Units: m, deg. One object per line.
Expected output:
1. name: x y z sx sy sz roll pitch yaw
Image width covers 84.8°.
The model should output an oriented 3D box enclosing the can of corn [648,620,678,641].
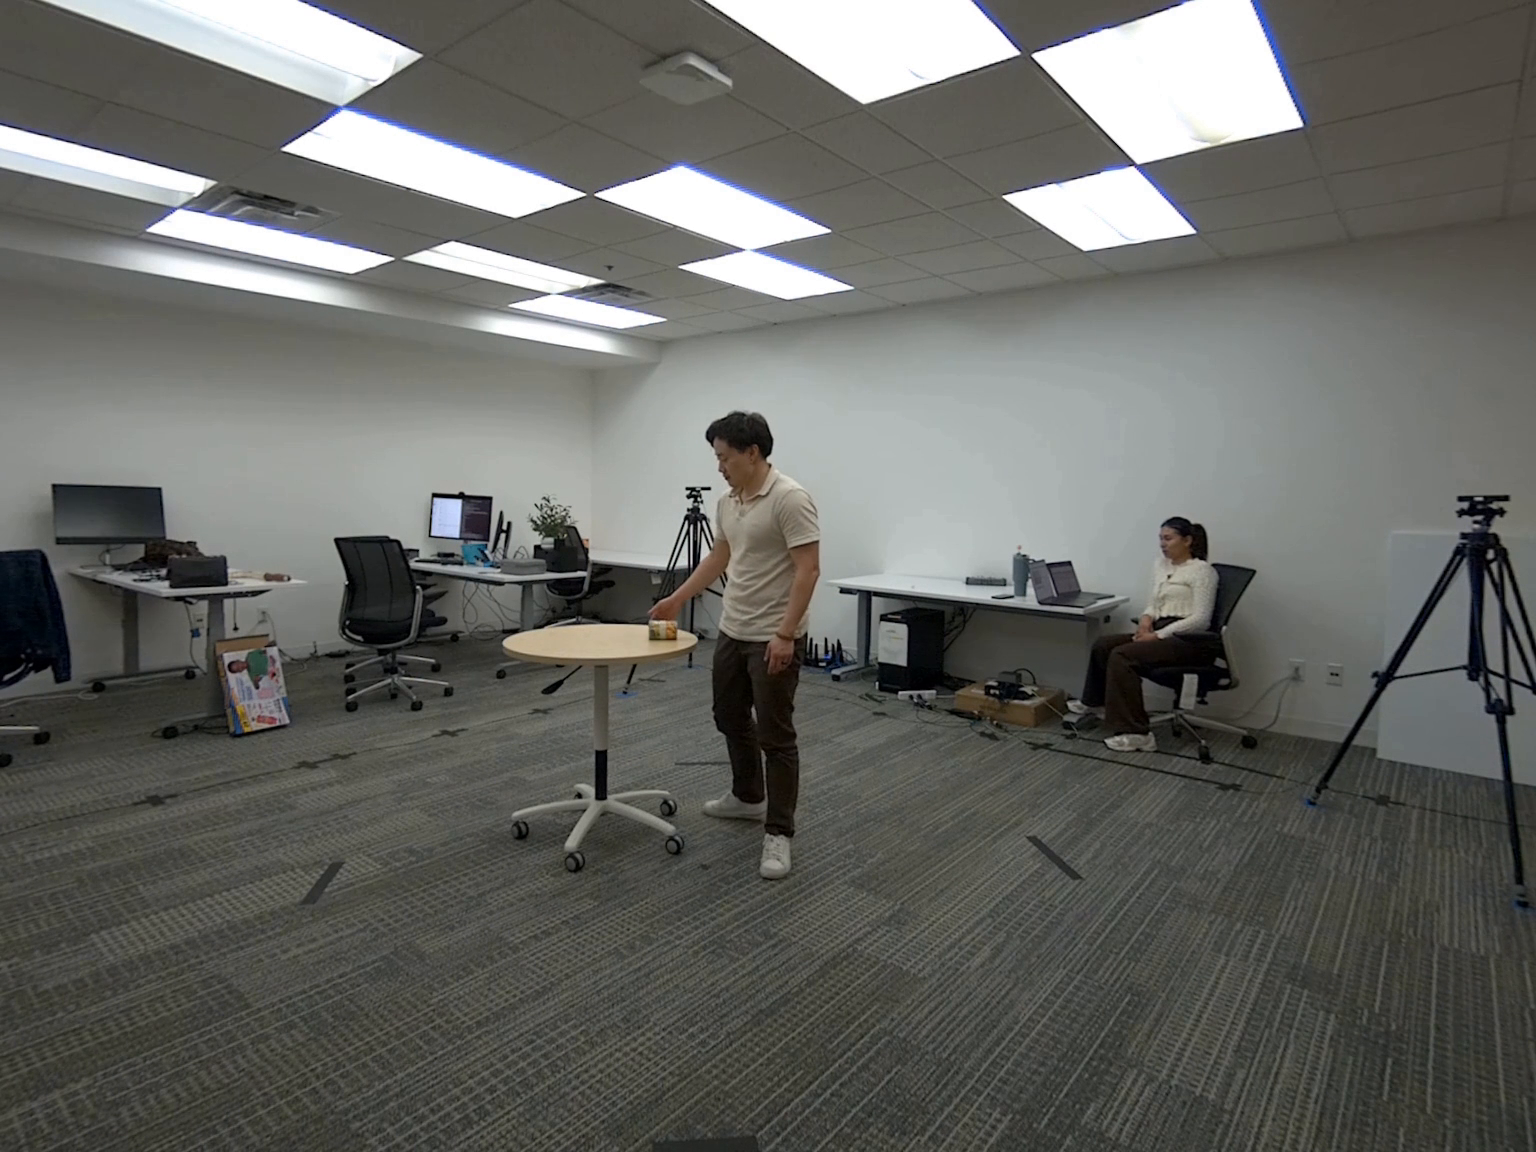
1. can of corn: -0.431 0.213 3.396 0.111 0.074 0.074 -1 4 -2
